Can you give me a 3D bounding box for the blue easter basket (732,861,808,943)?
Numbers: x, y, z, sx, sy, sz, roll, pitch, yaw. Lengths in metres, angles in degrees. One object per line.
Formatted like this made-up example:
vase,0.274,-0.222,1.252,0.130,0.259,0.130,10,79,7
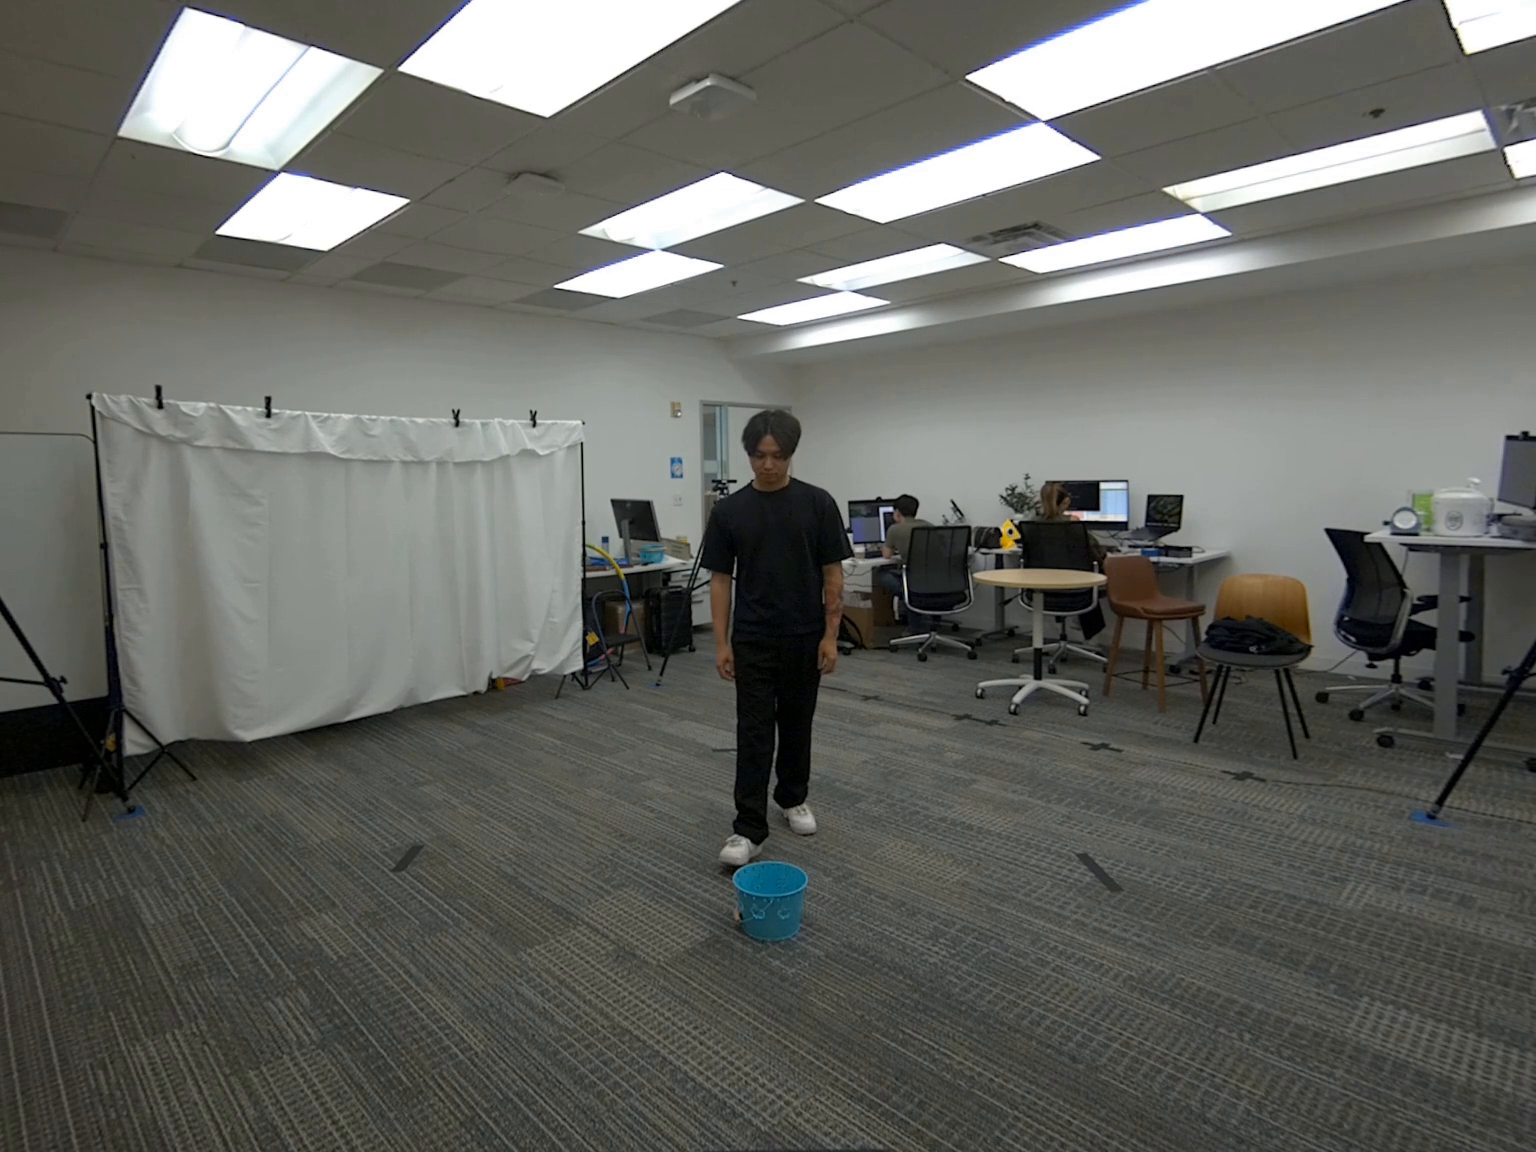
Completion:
blue easter basket,0.013,1.024,2.663,0.243,0.155,0.245,-1,6,-2
